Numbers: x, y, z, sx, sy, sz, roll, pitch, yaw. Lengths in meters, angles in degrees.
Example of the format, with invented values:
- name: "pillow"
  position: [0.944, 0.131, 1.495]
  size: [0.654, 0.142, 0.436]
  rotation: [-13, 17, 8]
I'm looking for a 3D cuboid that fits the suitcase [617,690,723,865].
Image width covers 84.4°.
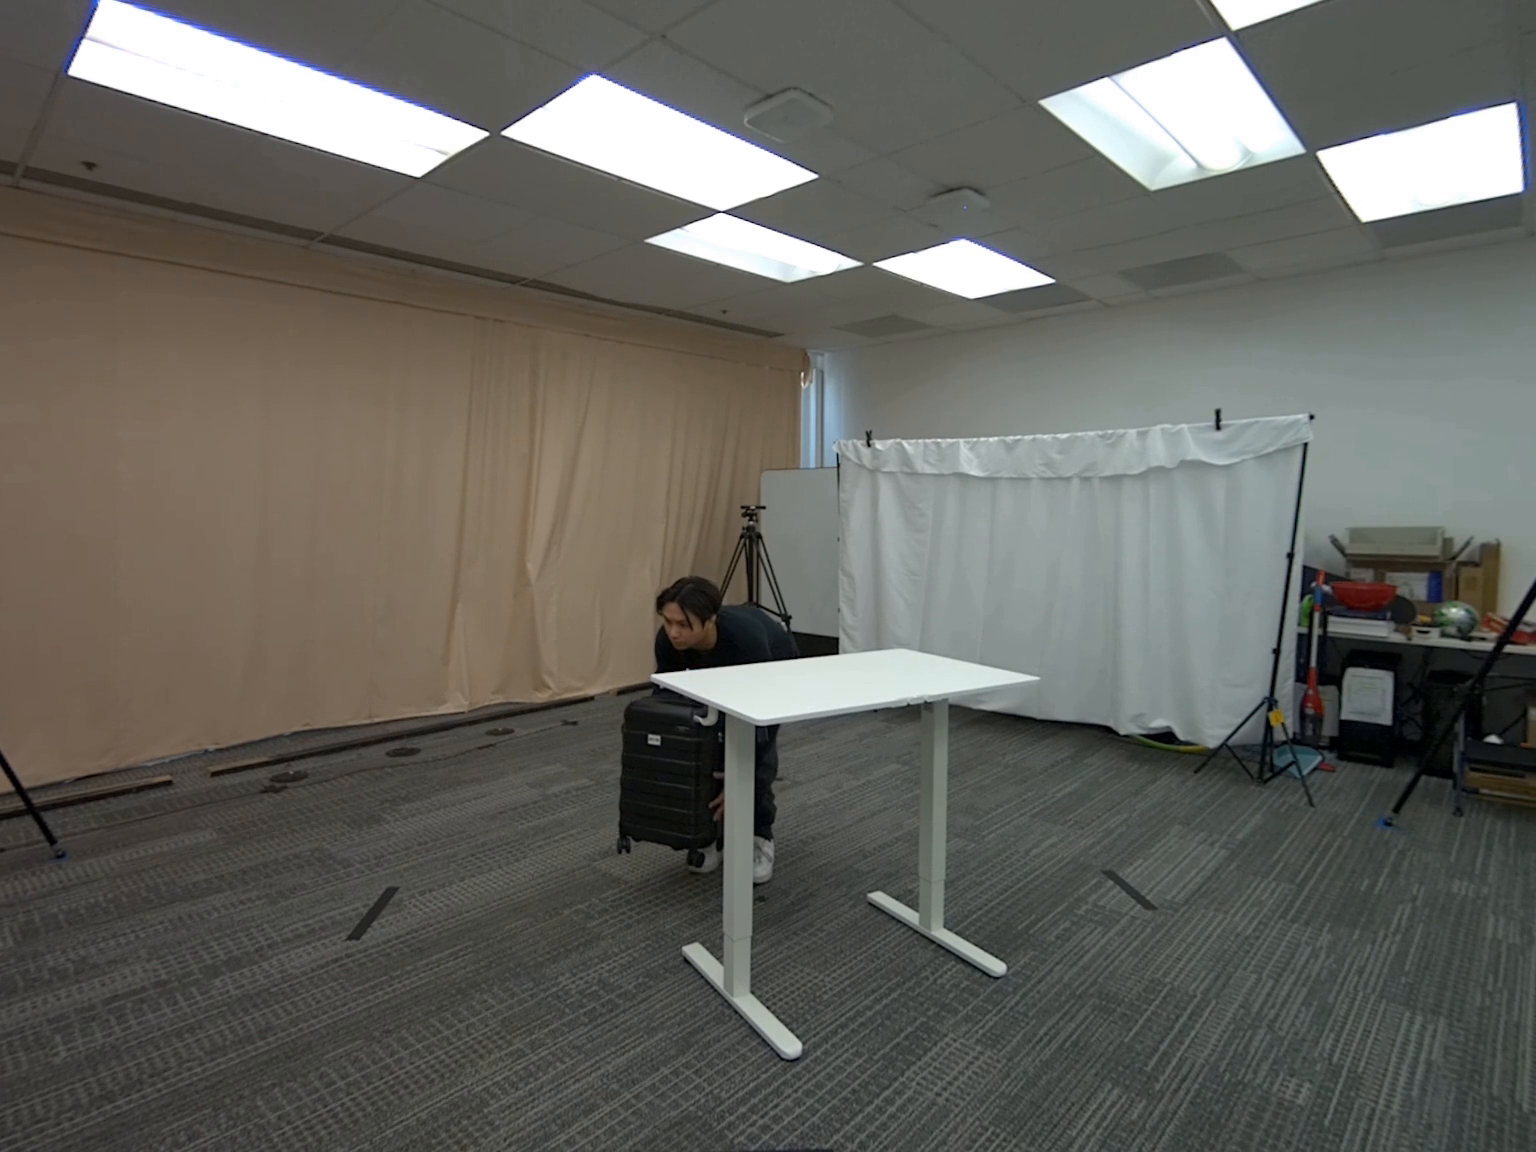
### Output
- name: "suitcase"
  position: [-0.330, 0.704, 3.003]
  size: [0.385, 0.550, 0.241]
  rotation: [0, -3, 27]
